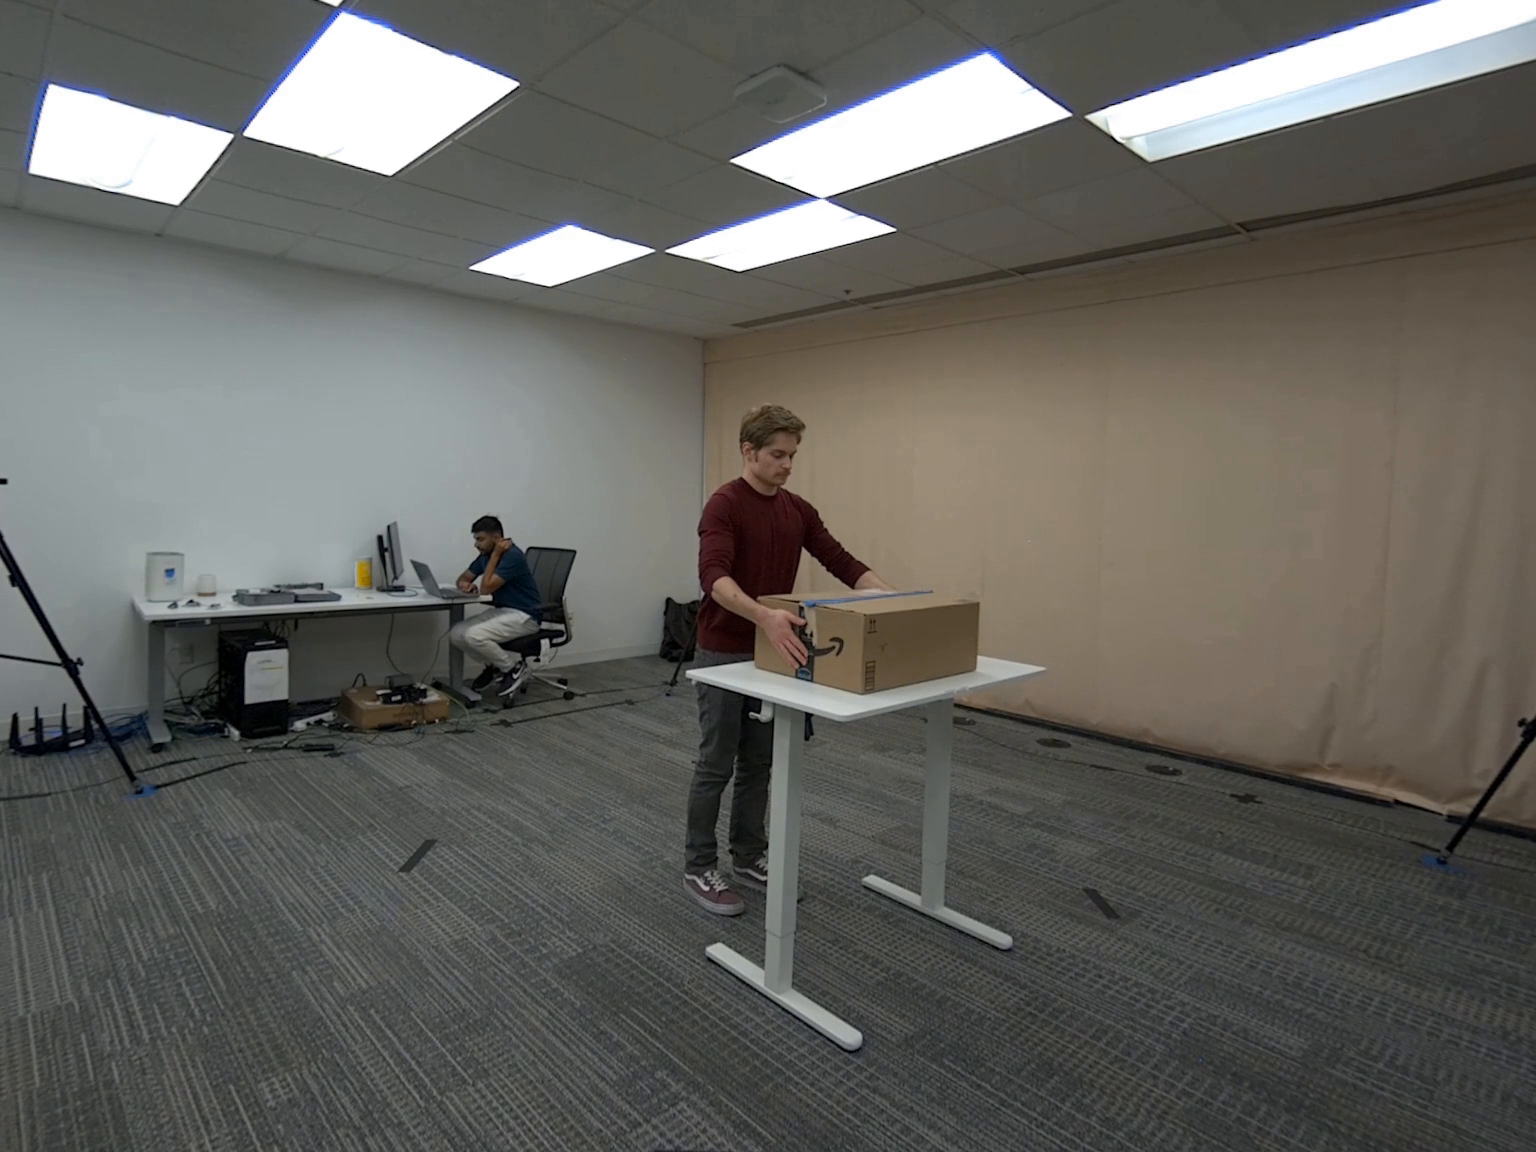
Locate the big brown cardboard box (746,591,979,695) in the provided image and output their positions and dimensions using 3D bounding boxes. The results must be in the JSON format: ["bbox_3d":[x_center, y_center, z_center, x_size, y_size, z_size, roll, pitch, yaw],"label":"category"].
[{"bbox_3d":[0.303,0.175,2.549,0.576,0.232,0.428,-4,7,-44],"label":"big brown cardboard box"}]
